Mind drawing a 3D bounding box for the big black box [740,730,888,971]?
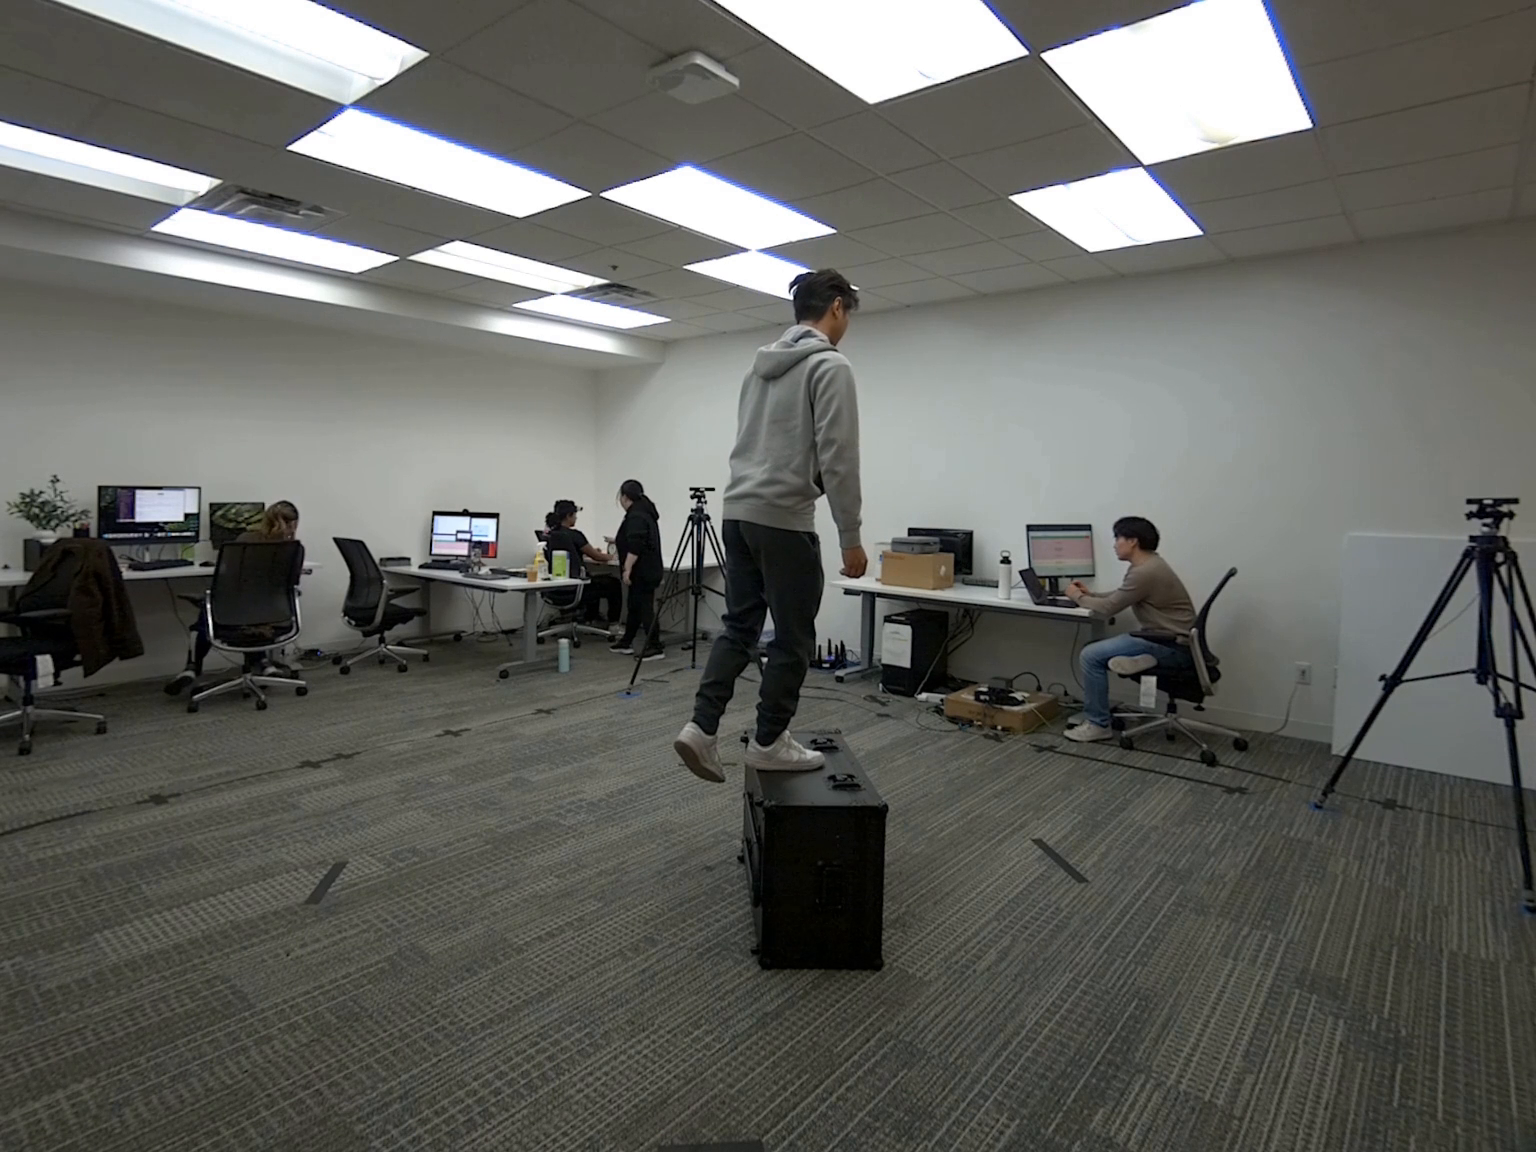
[{"bbox_3d":[0.101,0.856,2.870,0.395,0.519,0.868,1,5,-4],"label":"big black box"}]
